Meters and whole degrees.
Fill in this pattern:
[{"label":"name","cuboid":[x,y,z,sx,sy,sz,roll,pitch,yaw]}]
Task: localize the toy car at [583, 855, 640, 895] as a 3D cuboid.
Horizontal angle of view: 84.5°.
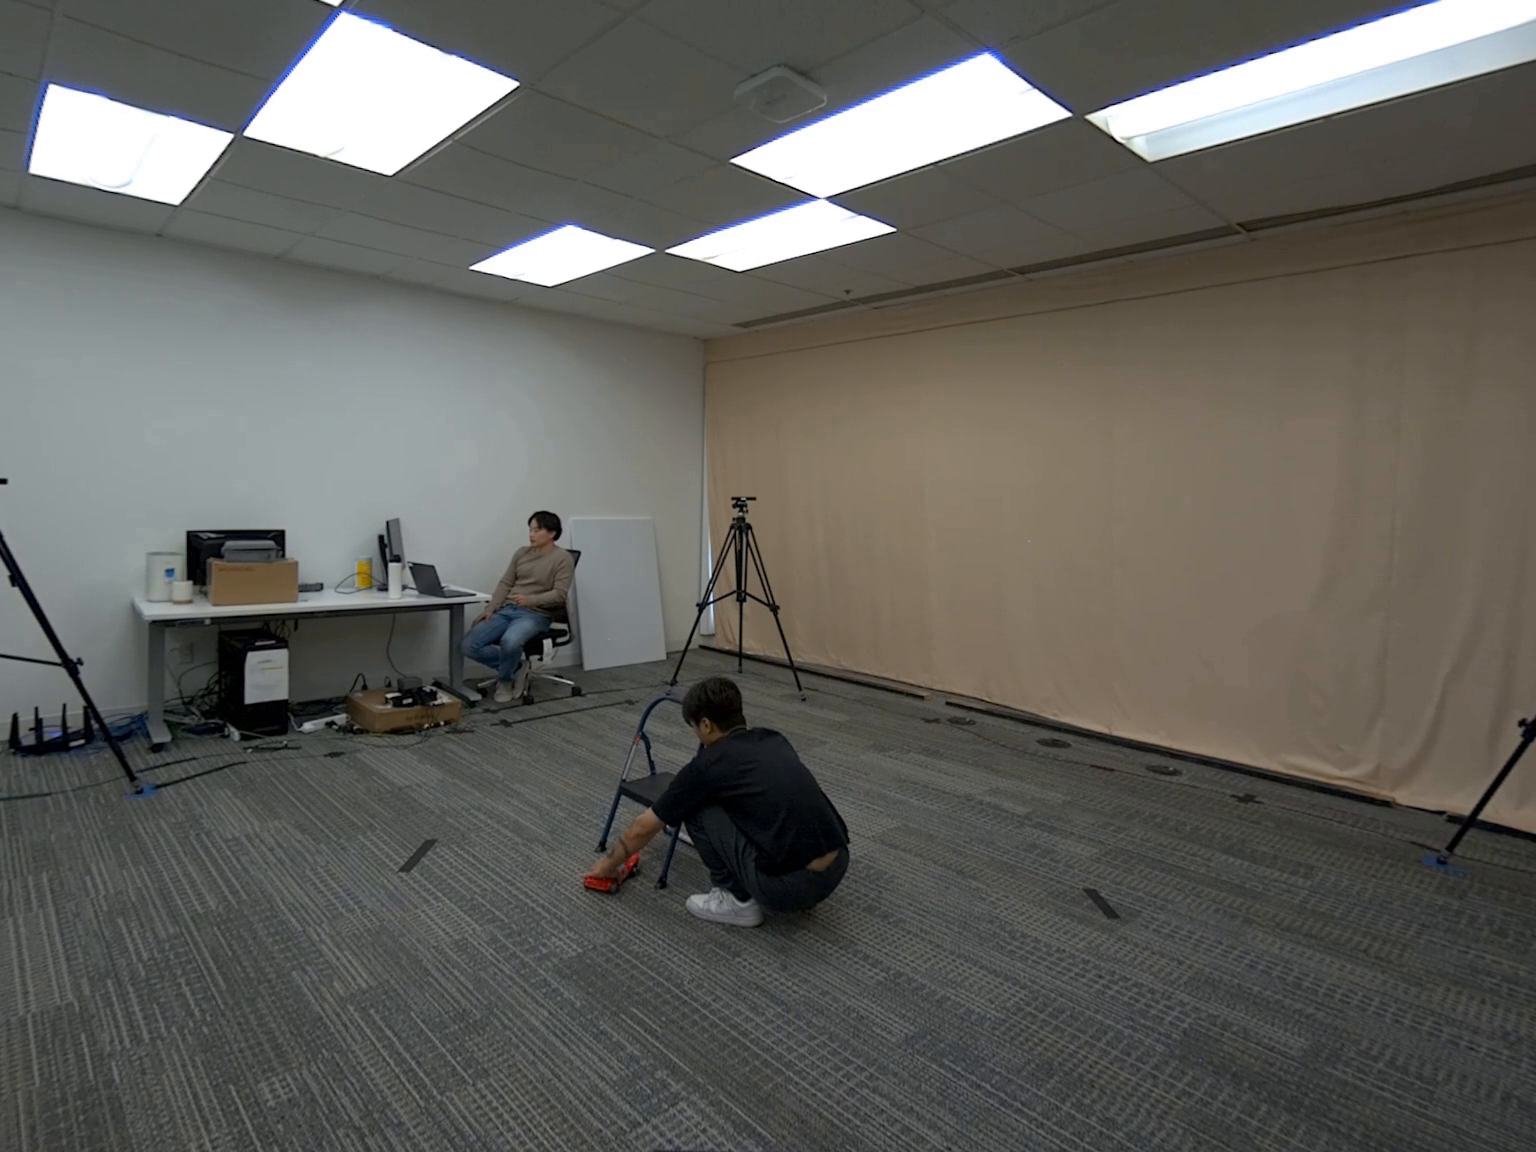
[{"label":"toy car","cuboid":[-0.556,1.073,3.062,0.132,0.082,0.254,1,19,20]}]
